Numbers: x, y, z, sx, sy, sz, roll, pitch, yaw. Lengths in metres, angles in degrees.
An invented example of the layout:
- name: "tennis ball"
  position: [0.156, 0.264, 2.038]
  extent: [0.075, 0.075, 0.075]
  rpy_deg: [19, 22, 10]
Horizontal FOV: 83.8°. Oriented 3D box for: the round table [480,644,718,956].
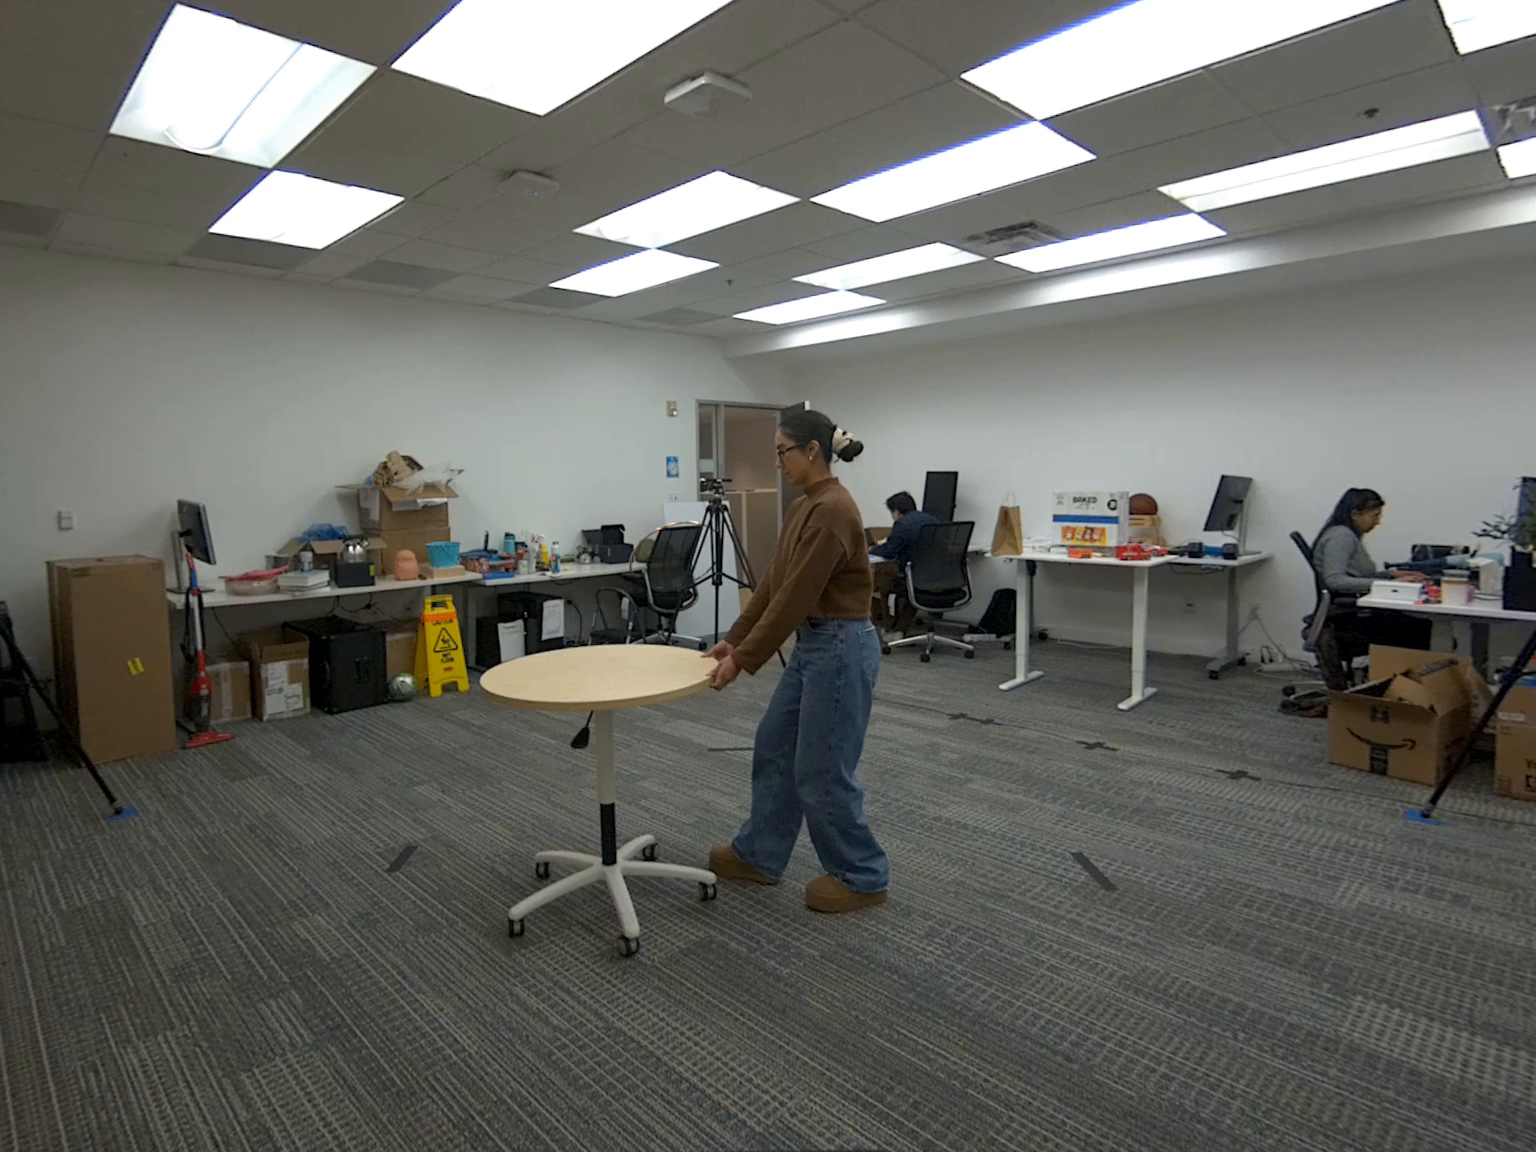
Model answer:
- name: "round table"
  position: [-0.506, 0.688, 2.818]
  extent: [0.784, 0.783, 0.790]
  rpy_deg: [-2, 6, -2]
